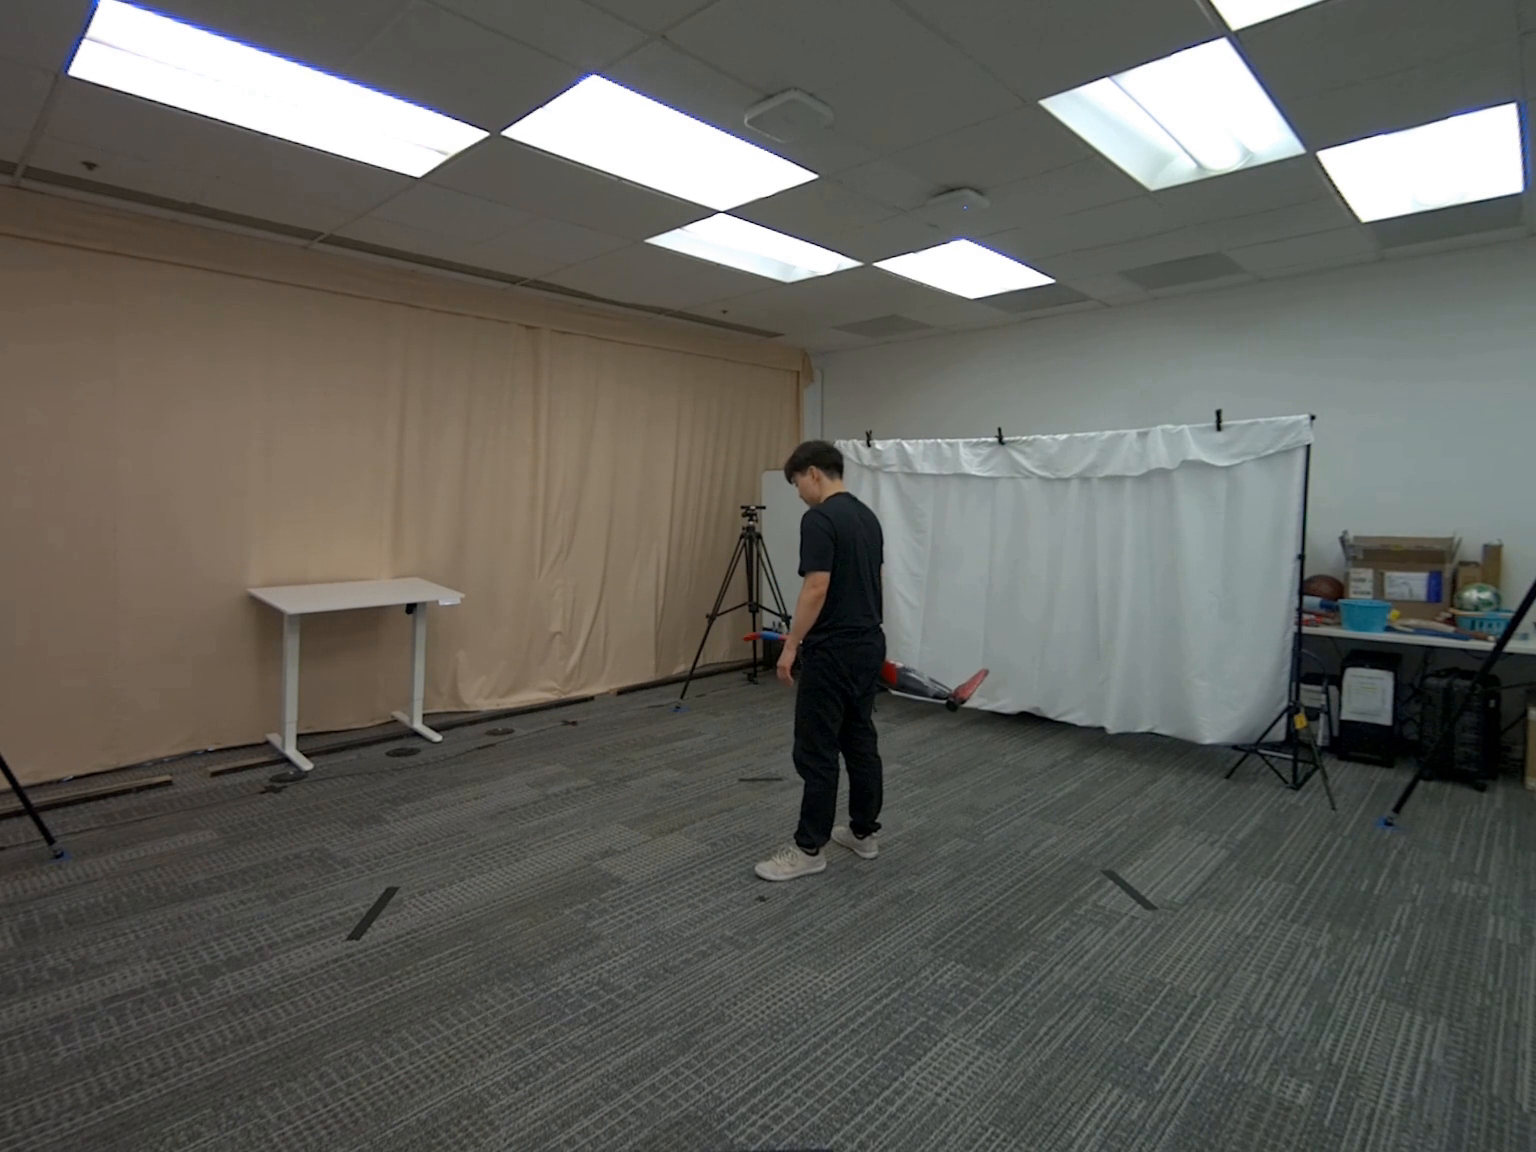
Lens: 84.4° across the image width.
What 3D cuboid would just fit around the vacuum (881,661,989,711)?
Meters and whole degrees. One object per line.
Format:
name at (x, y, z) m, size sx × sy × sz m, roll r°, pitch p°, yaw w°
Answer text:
vacuum at (0.352, 0.378, 3.612) m, size 1.085 × 0.142 × 0.248 m, roll 10°, pitch 26°, yaw 36°
